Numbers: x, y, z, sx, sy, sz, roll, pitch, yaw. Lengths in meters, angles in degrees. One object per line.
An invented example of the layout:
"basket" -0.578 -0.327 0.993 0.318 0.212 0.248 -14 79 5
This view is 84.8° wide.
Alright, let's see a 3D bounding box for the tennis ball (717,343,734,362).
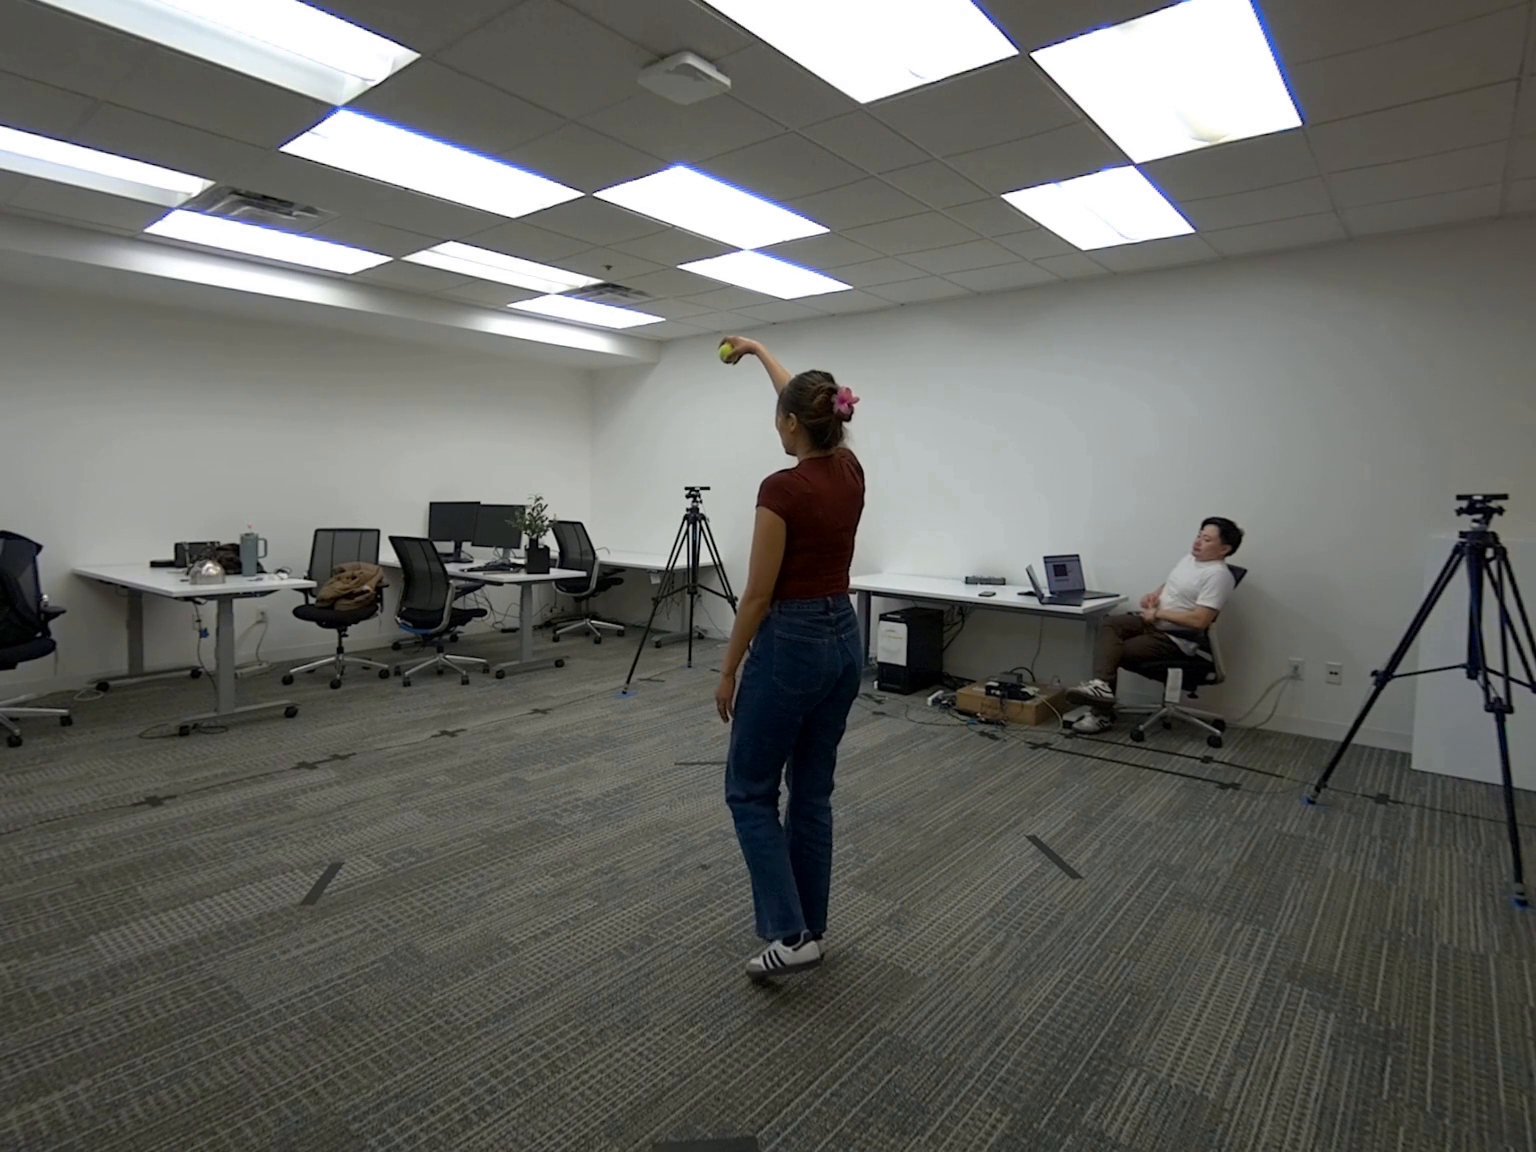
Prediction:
"tennis ball" -0.134 -0.749 2.840 0.066 0.066 0.067 1 4 -2
